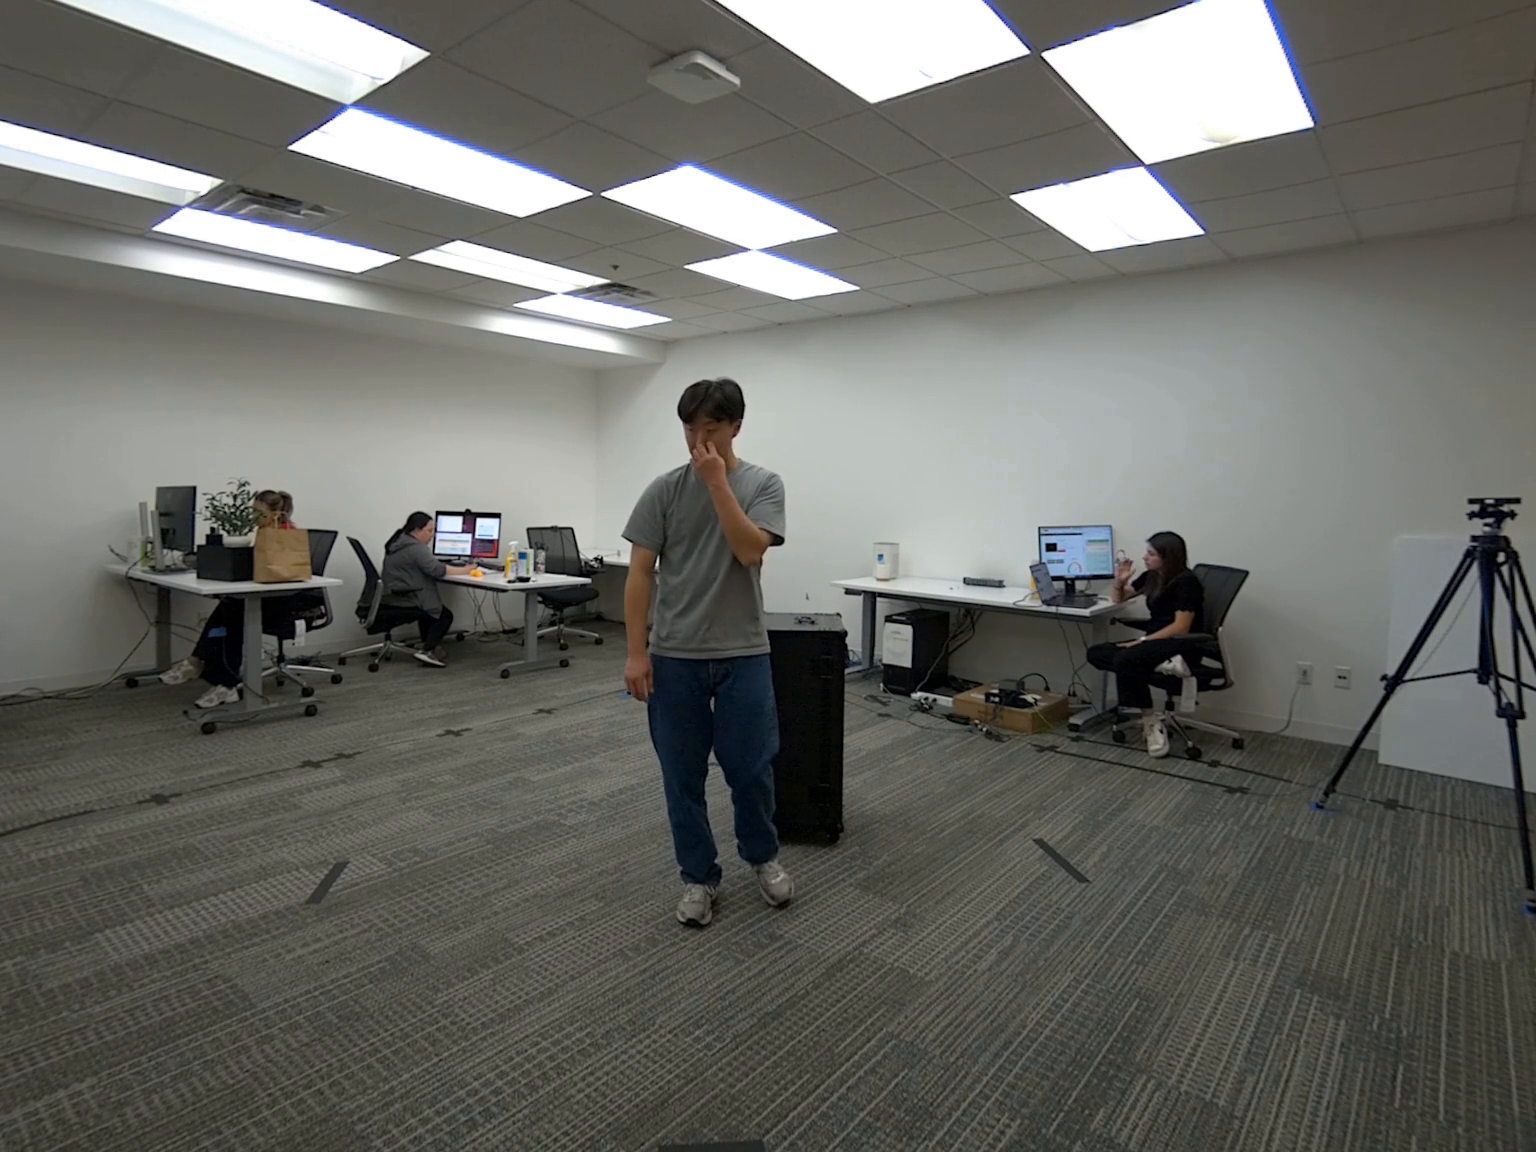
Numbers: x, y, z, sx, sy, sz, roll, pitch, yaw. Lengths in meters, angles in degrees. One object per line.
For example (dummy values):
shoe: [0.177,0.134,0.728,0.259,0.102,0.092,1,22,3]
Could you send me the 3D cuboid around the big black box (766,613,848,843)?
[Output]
big black box: [0.113,0.610,3.523,0.398,0.859,0.520,0,4,4]
